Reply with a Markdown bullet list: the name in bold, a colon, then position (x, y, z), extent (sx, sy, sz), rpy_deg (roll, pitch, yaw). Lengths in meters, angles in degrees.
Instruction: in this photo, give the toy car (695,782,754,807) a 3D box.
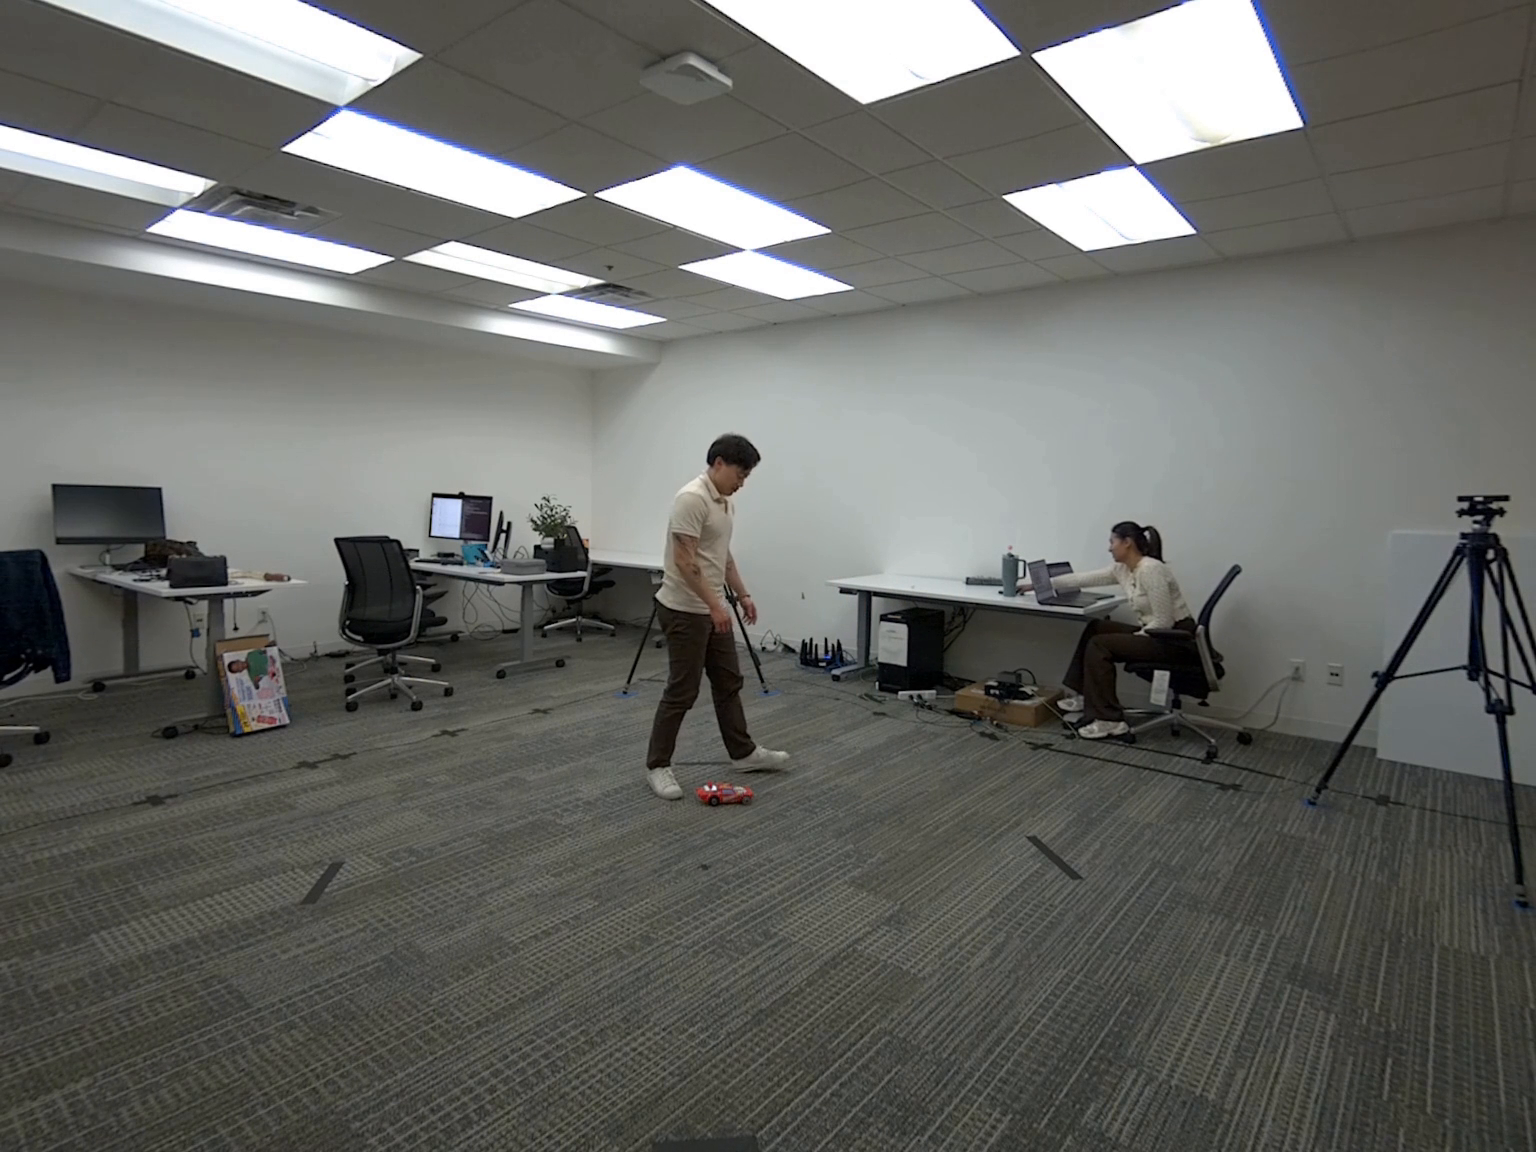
- **toy car**: position (-0.212, 0.969, 3.778), extent (0.251, 0.083, 0.132), rpy_deg (11, 3, -10)
